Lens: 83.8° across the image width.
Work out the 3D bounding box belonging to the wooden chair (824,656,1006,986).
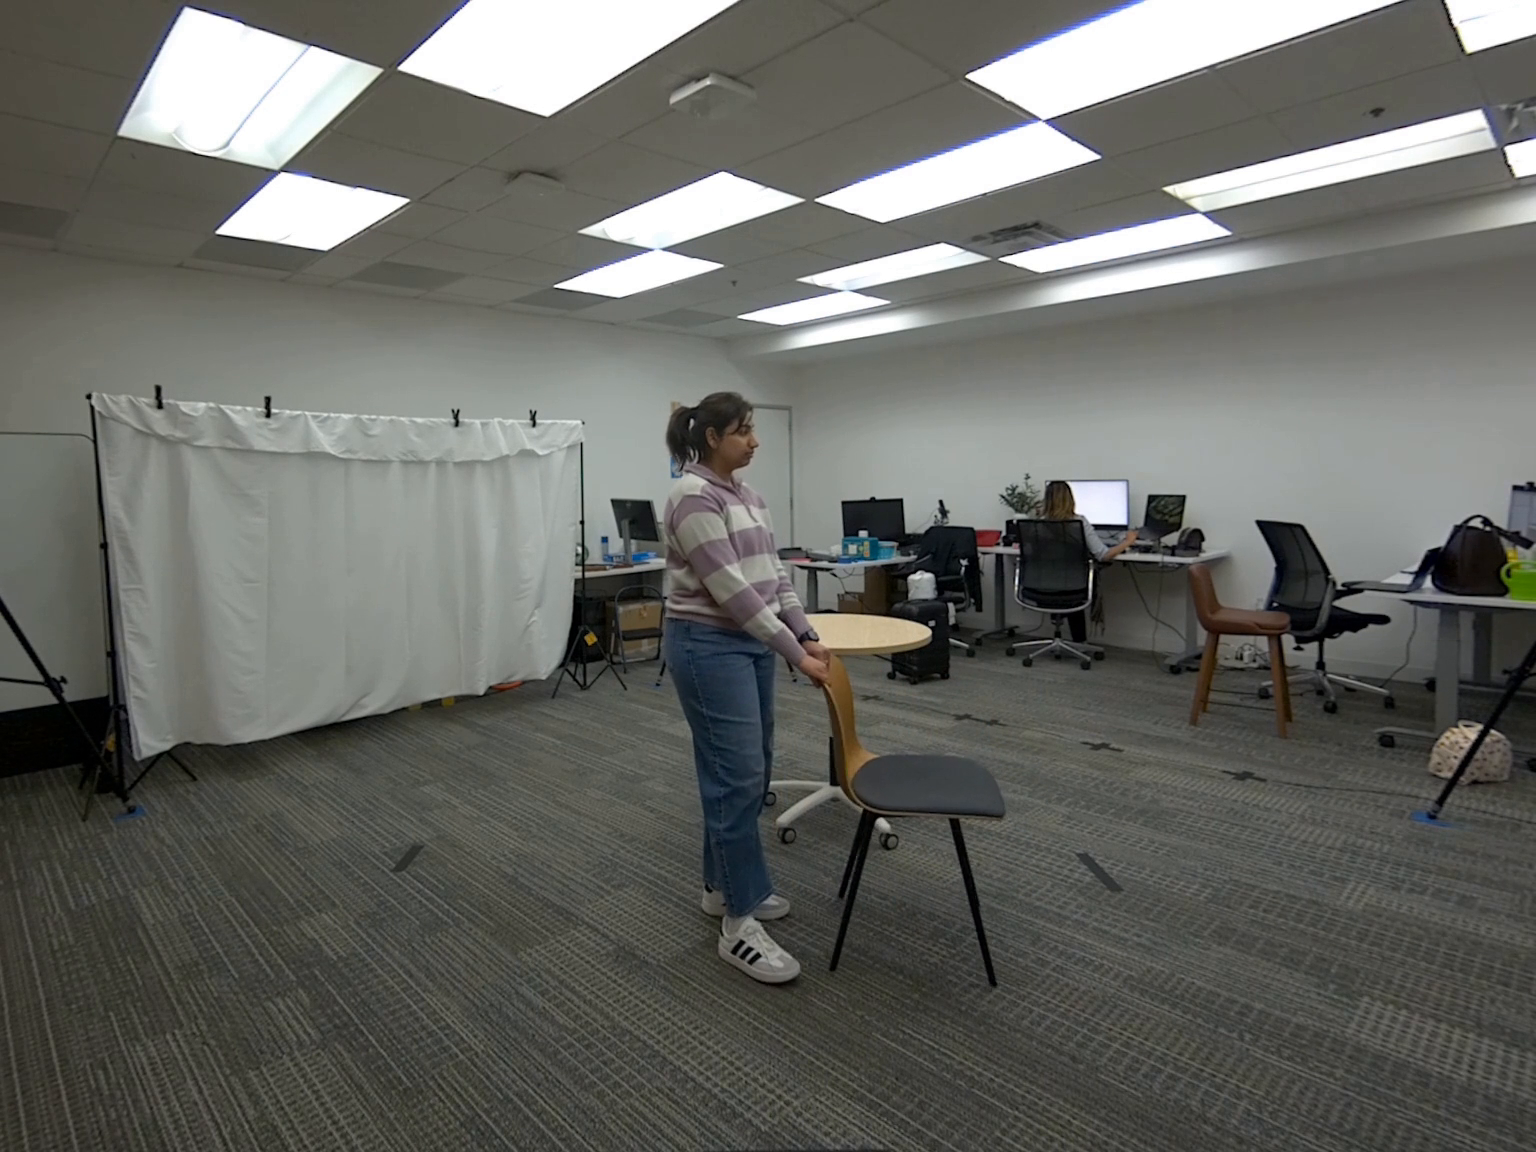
[{"bbox_3d":[0.427,0.670,2.569,0.528,0.875,0.475,-5,2,9],"label":"wooden chair"}]
